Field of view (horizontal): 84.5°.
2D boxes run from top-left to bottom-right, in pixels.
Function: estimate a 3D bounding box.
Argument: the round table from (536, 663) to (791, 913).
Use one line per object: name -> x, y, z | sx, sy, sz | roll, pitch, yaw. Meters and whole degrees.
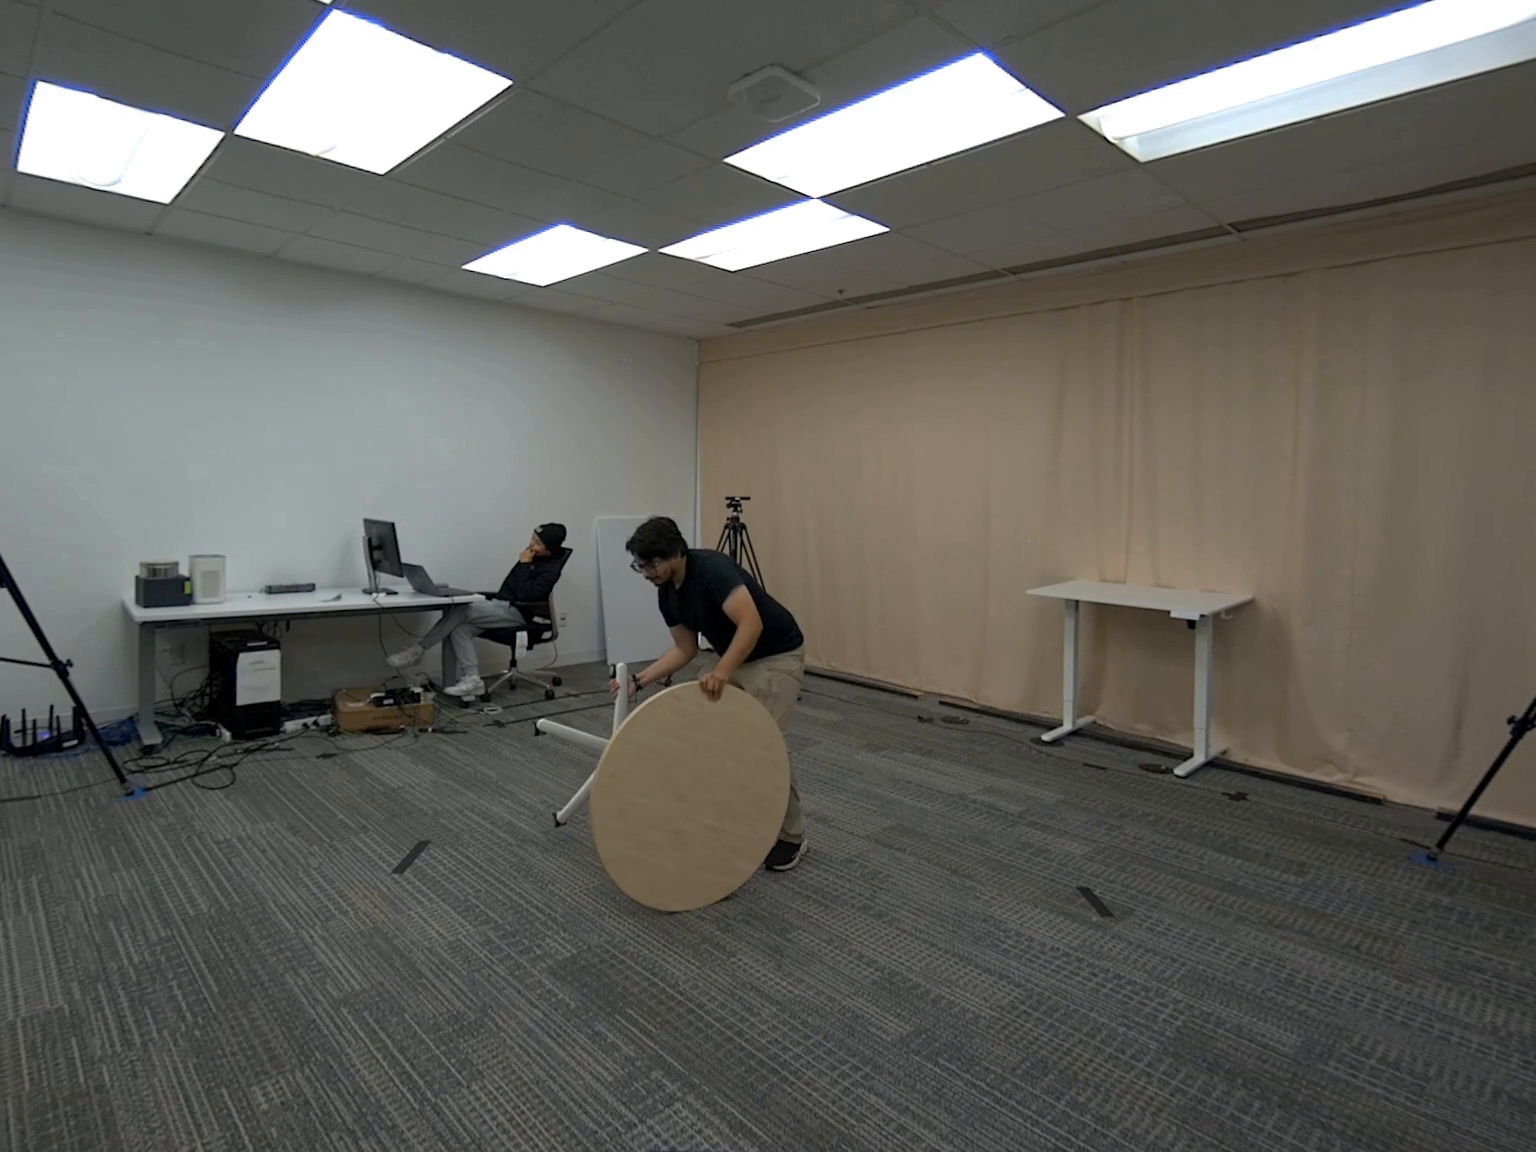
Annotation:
round table -> -0.470, 0.731, 3.181 | 0.768, 0.784, 0.804 | -1, 2, -33
